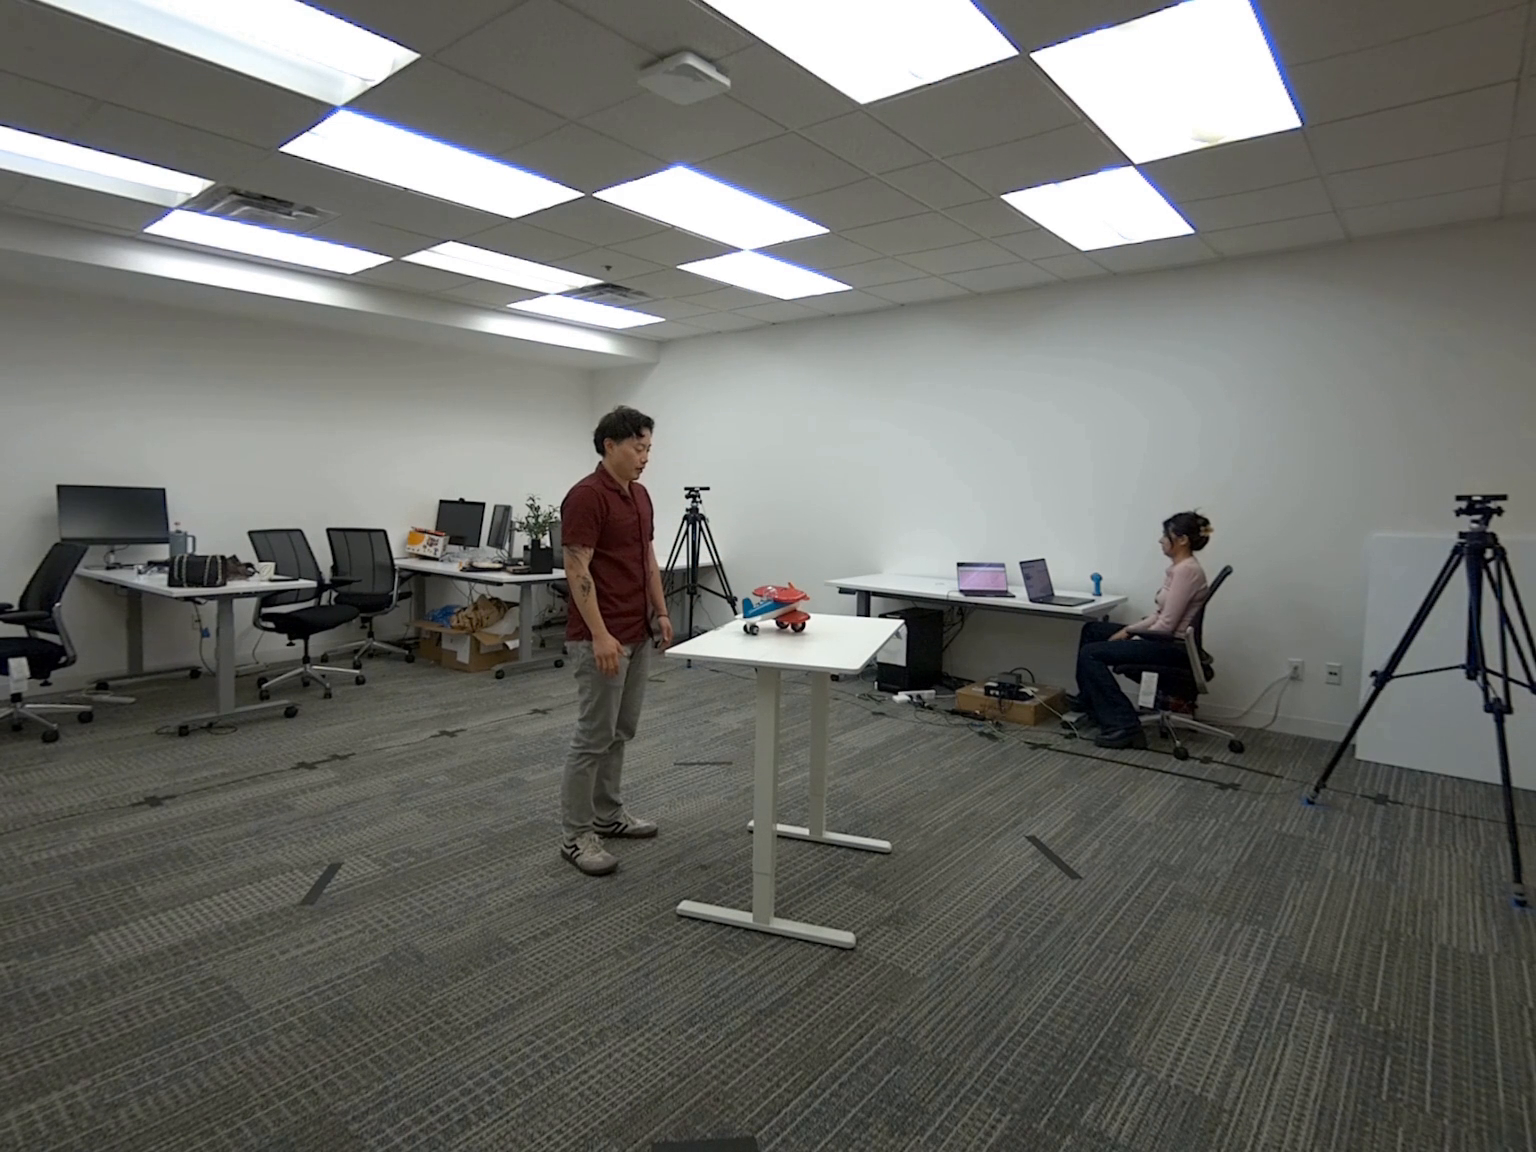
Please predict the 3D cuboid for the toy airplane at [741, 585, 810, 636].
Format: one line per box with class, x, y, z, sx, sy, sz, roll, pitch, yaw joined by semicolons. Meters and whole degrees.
toy airplane;0.023;0.121;3.003;0.258;0.156;0.253;4;5;26
